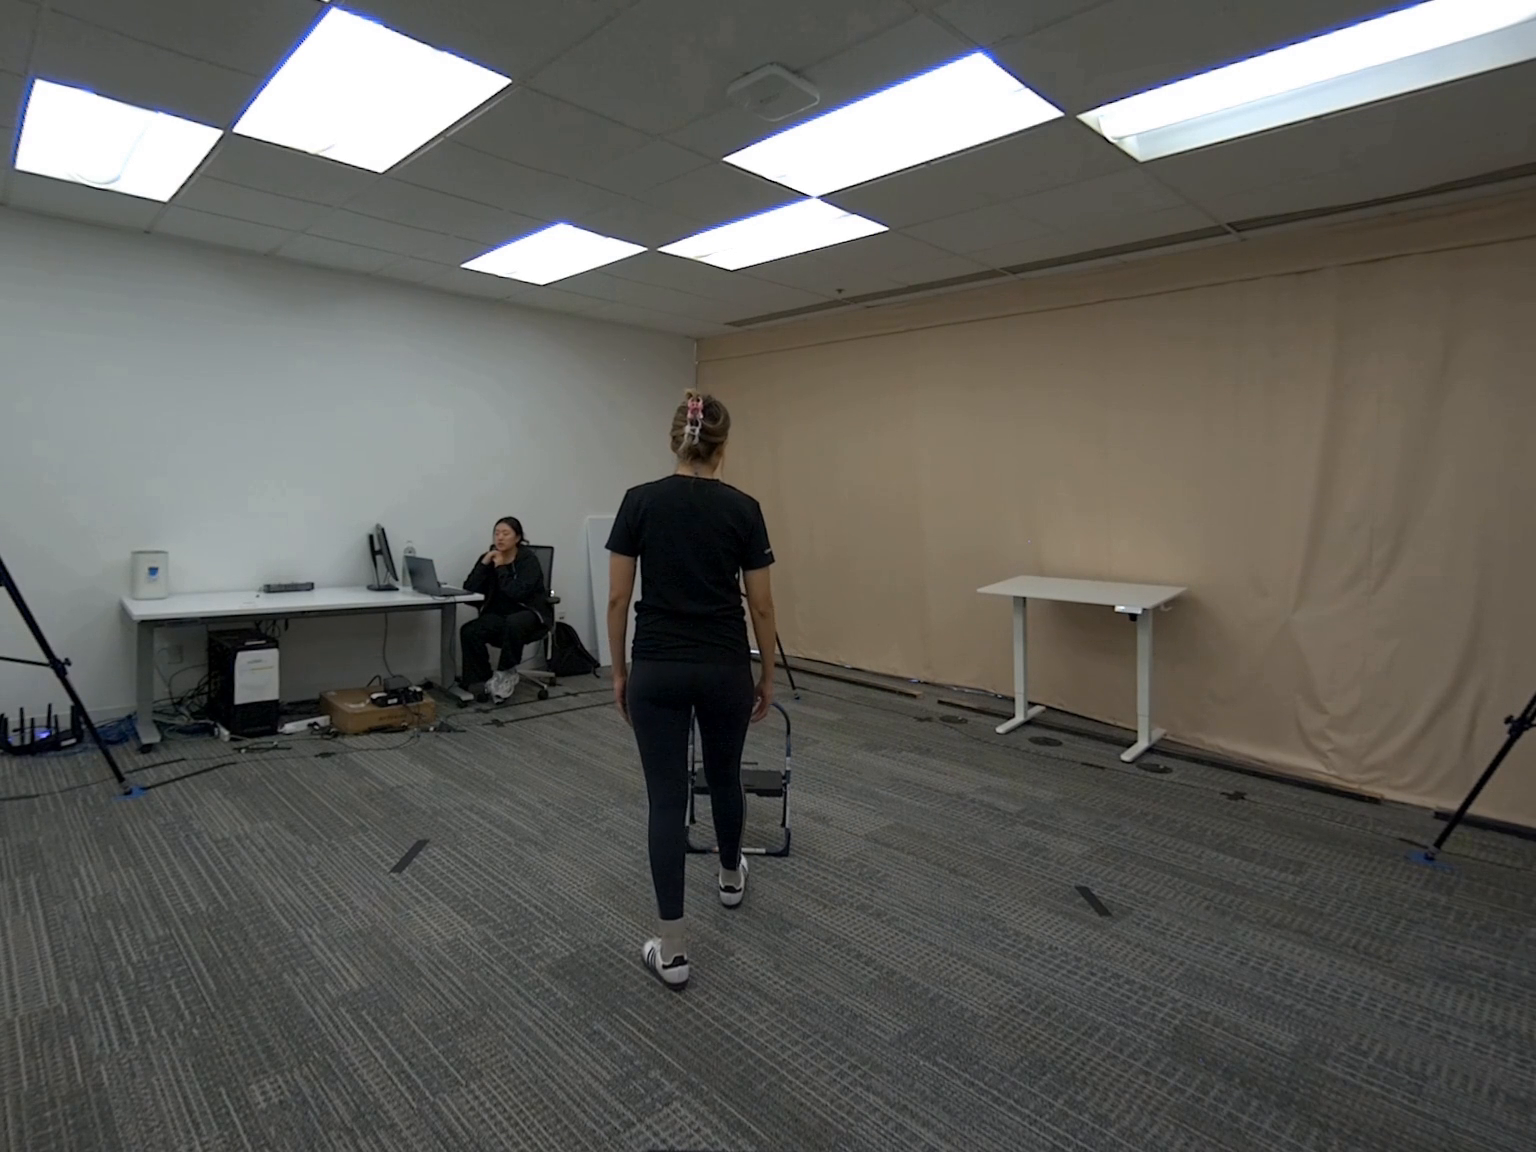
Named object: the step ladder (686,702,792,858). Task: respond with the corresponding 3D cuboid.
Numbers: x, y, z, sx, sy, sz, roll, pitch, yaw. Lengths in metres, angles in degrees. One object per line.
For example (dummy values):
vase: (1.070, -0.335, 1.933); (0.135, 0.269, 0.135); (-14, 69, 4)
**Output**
step ladder: (-0.122, 0.777, 3.432); (0.431, 0.605, 0.349); (1, 3, 1)
